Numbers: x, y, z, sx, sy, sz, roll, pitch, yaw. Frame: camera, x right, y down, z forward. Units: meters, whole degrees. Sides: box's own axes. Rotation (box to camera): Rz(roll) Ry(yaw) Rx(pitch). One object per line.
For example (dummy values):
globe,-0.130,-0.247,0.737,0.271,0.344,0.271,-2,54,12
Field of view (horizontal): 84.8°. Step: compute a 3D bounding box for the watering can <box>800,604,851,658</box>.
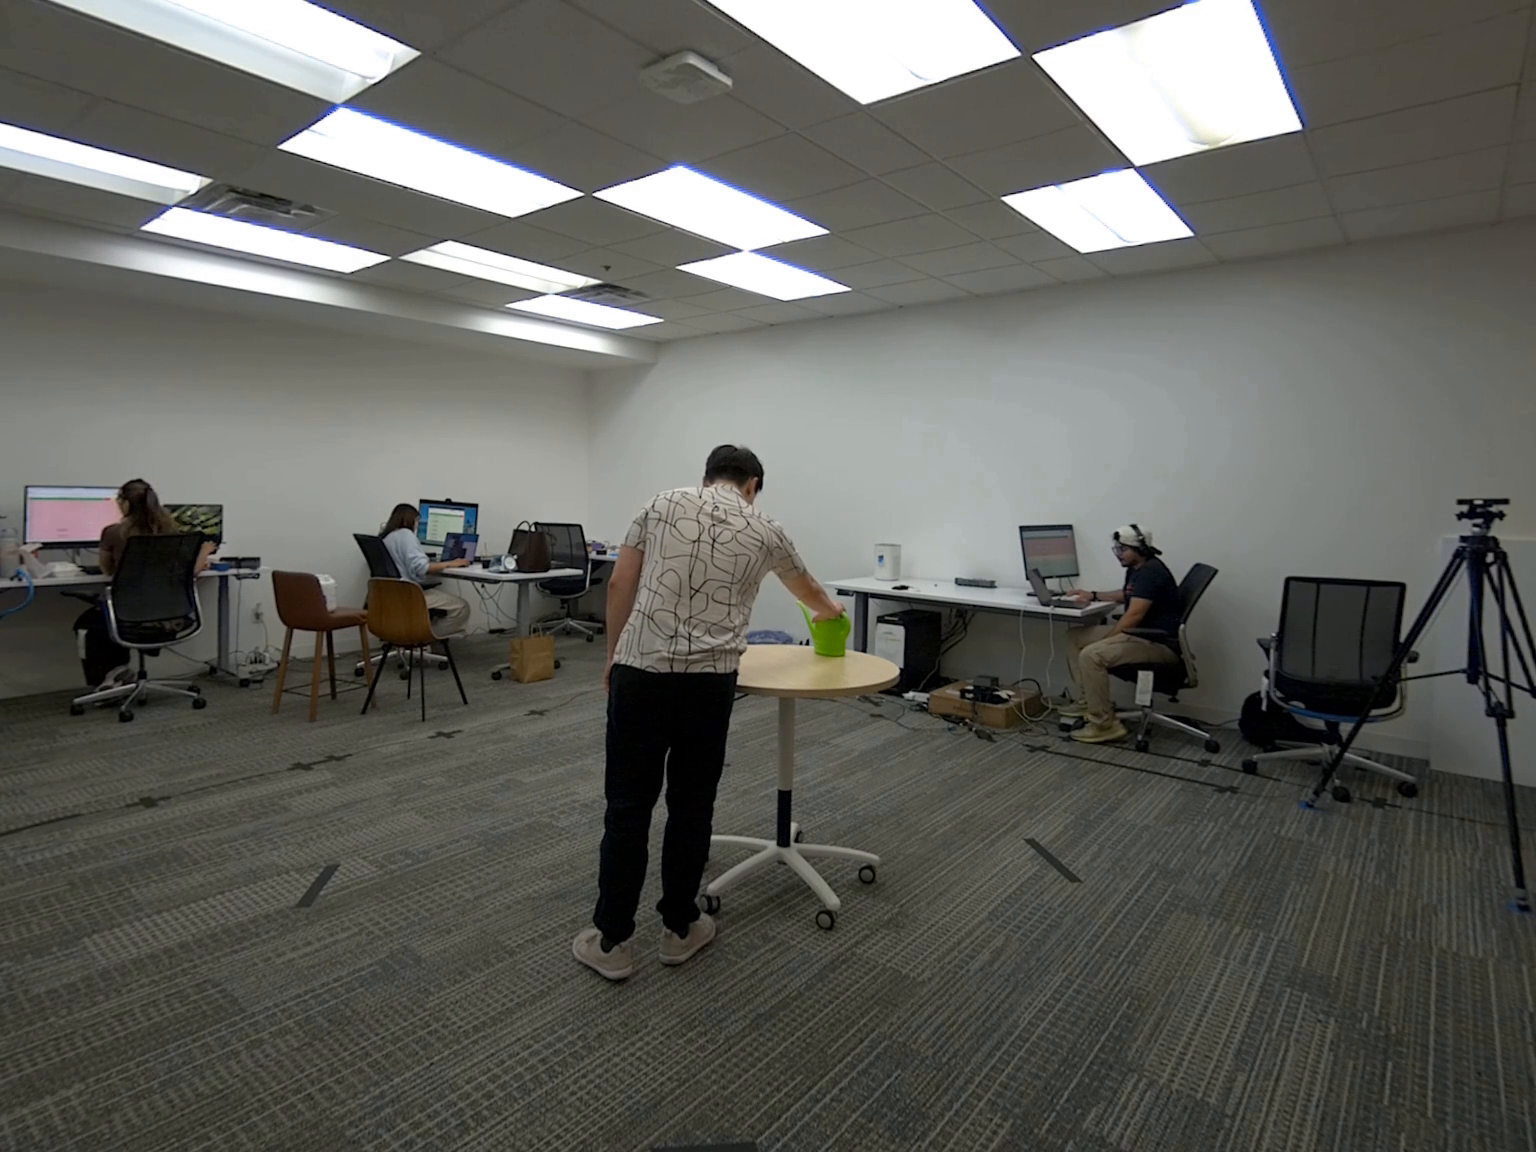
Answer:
watering can,0.200,0.196,3.220,0.096,0.175,0.287,-4,10,-27
